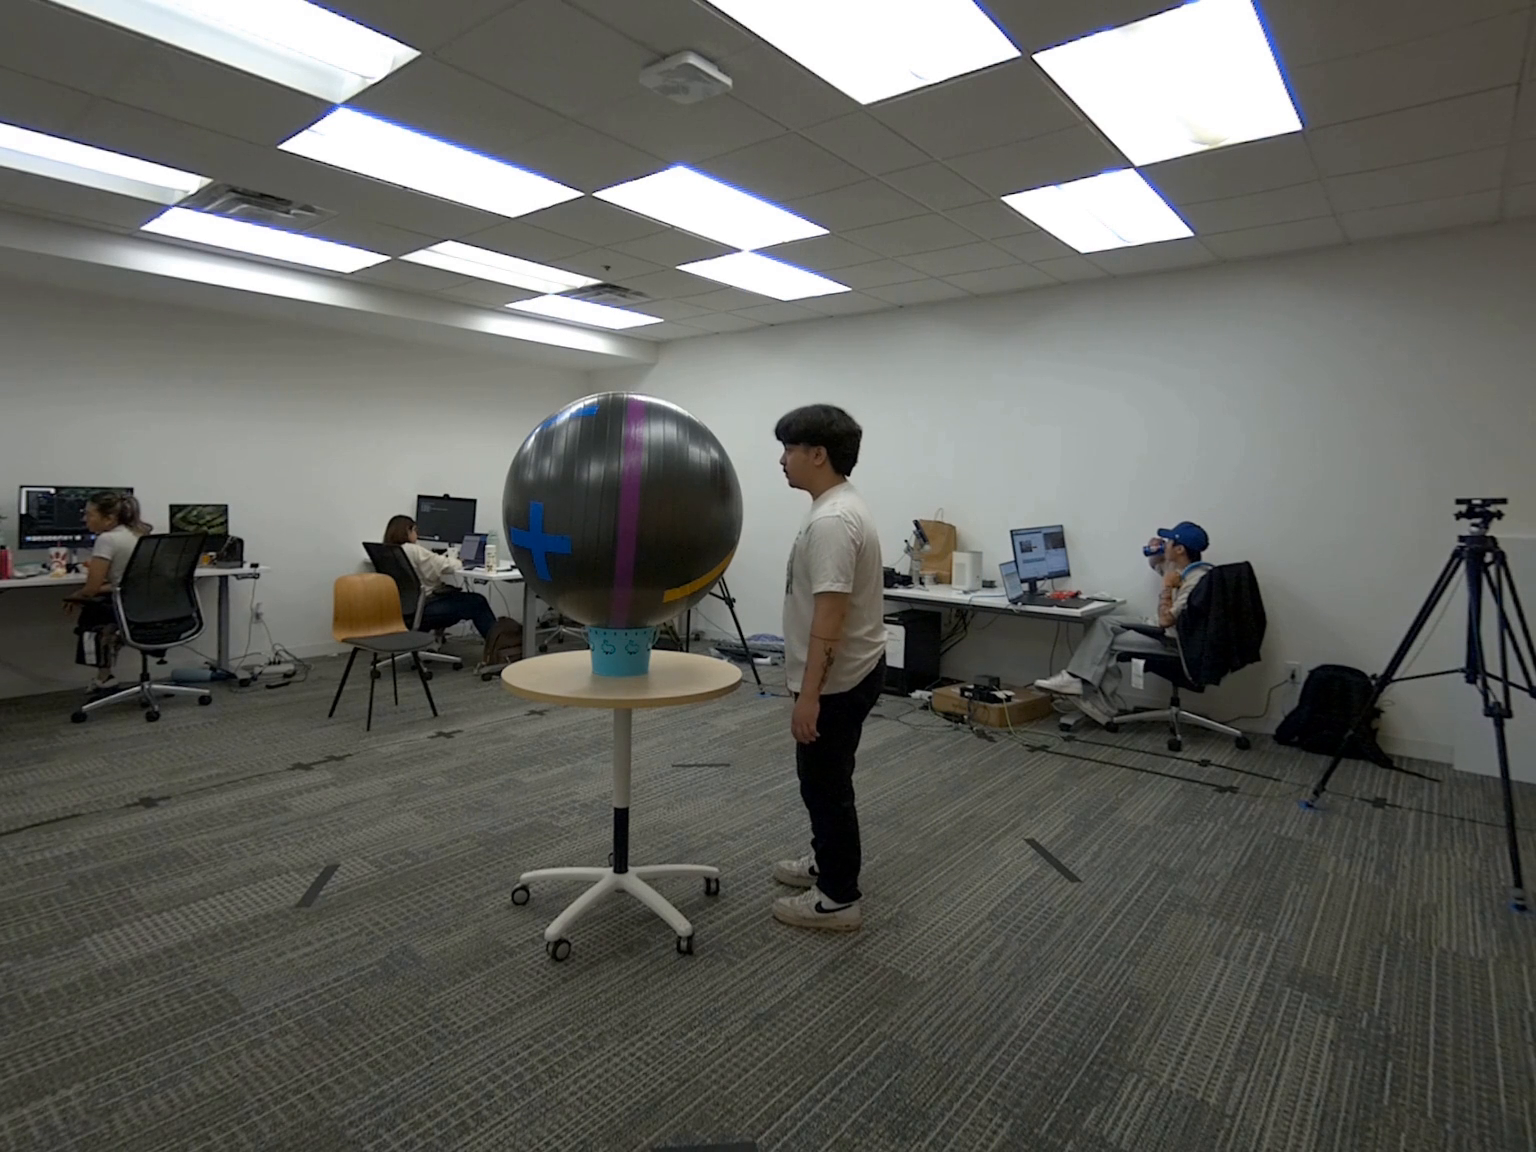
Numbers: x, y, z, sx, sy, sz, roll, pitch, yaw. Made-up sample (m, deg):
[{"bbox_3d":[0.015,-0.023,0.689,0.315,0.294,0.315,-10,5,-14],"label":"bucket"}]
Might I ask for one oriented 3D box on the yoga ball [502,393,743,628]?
[{"bbox_3d":[-0.475,-0.204,2.726,0.757,0.755,0.762,1,4,-2],"label":"yoga ball"}]
